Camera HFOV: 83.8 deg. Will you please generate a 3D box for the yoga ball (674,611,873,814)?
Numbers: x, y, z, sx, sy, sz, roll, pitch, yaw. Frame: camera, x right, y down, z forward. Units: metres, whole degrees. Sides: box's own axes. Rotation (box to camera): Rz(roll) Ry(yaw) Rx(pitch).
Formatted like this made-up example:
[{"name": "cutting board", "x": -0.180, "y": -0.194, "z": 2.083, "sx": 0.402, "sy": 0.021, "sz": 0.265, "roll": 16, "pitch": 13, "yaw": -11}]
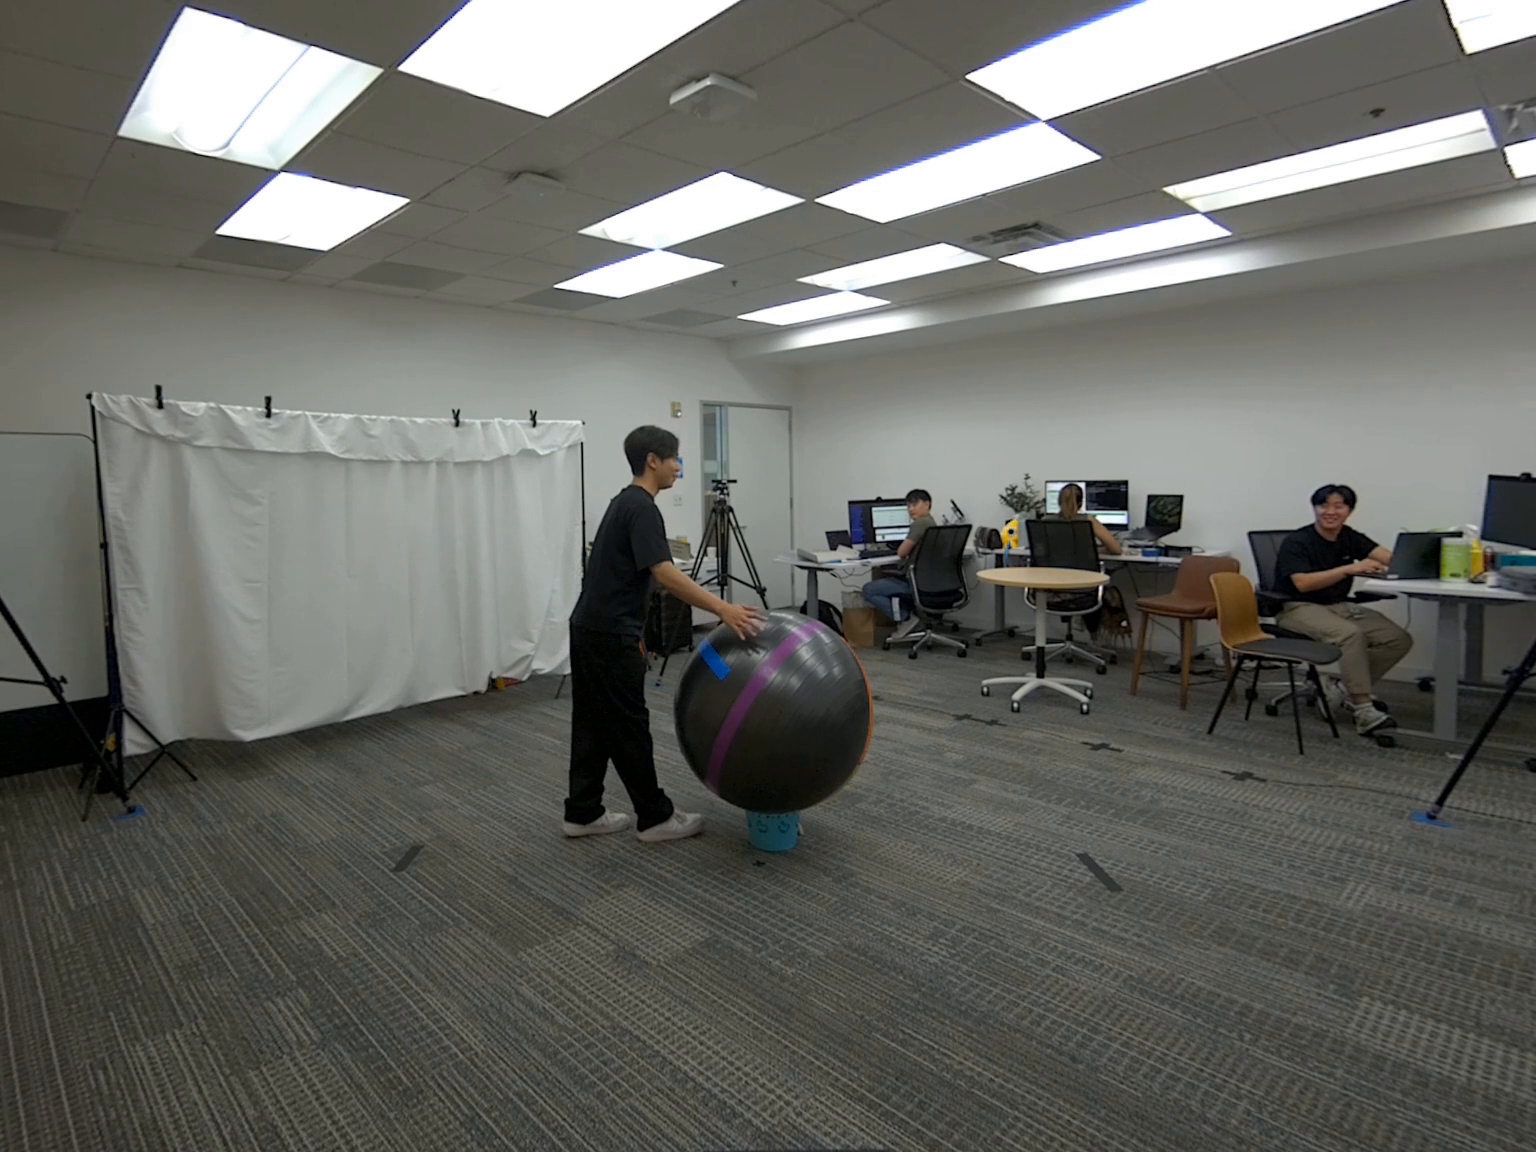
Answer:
[{"name": "yoga ball", "x": 0.026, "y": 0.518, "z": 3.273, "sx": 0.757, "sy": 0.755, "sz": 0.762, "roll": -1, "pitch": 5, "yaw": -2}]
